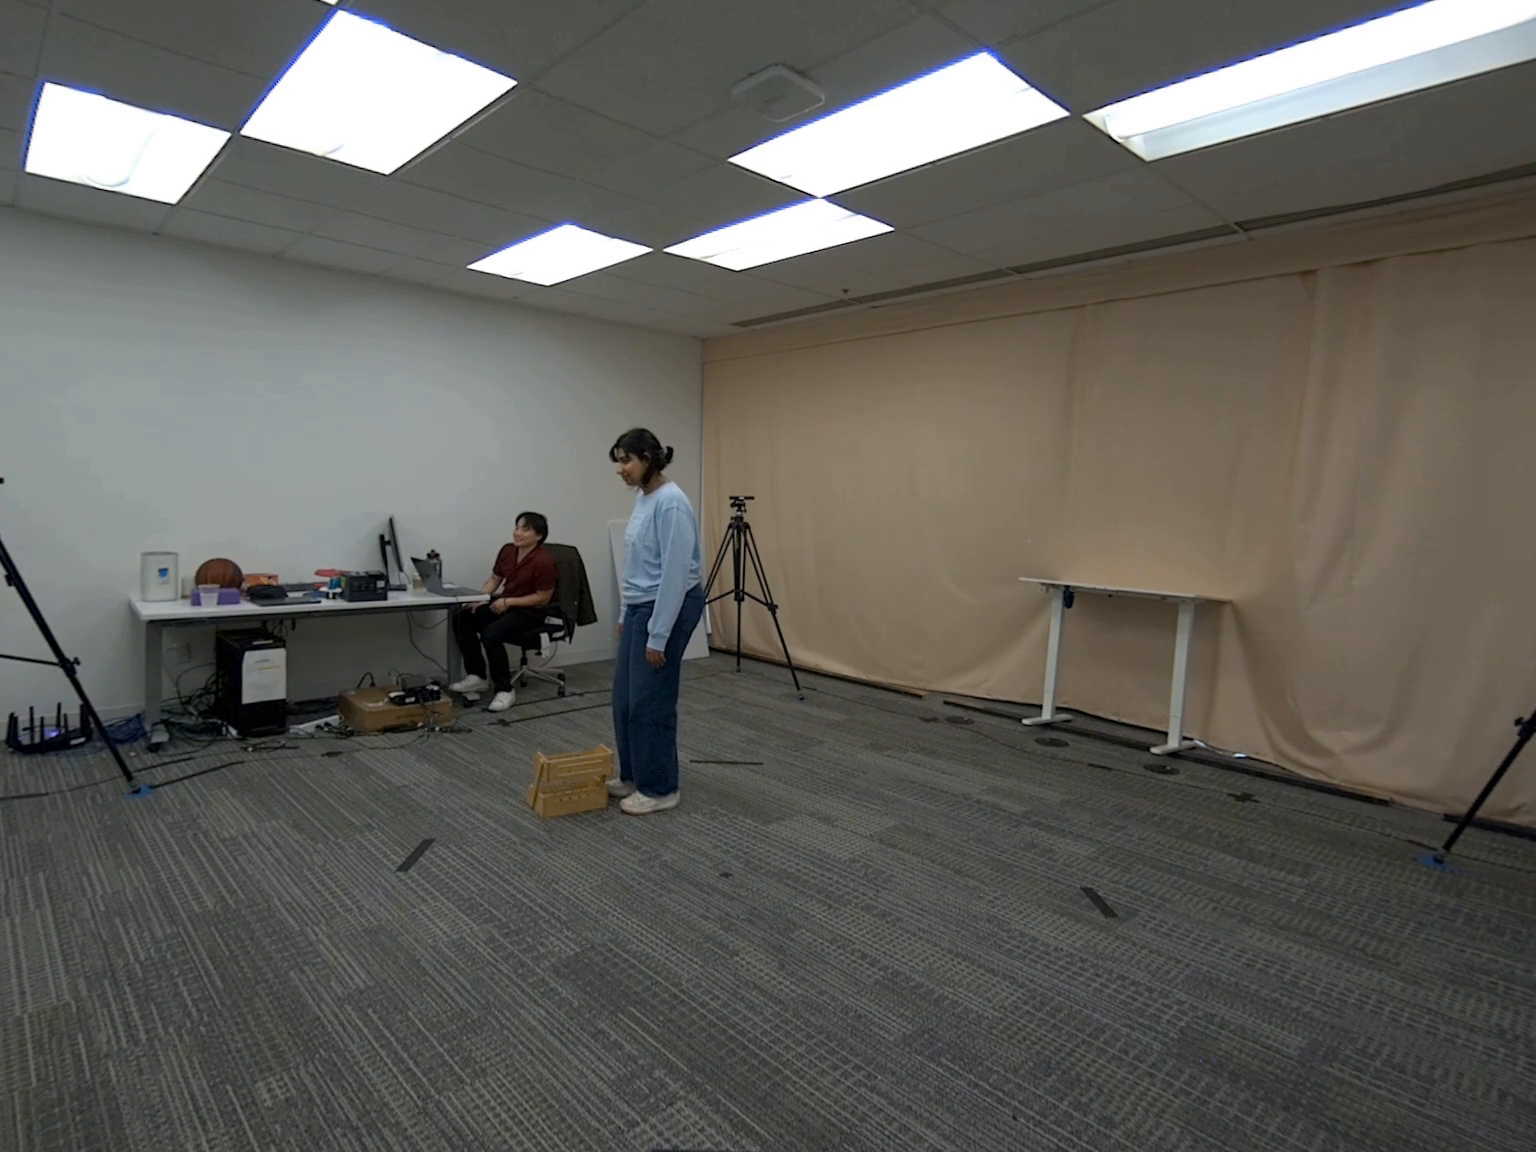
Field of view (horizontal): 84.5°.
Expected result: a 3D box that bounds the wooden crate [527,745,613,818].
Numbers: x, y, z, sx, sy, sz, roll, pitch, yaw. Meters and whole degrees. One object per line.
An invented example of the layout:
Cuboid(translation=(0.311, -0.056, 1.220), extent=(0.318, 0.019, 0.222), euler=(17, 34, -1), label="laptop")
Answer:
Cuboid(translation=(-0.909, 0.899, 3.772), extent=(0.317, 0.273, 0.309), euler=(0, 5, -32), label="wooden crate")
